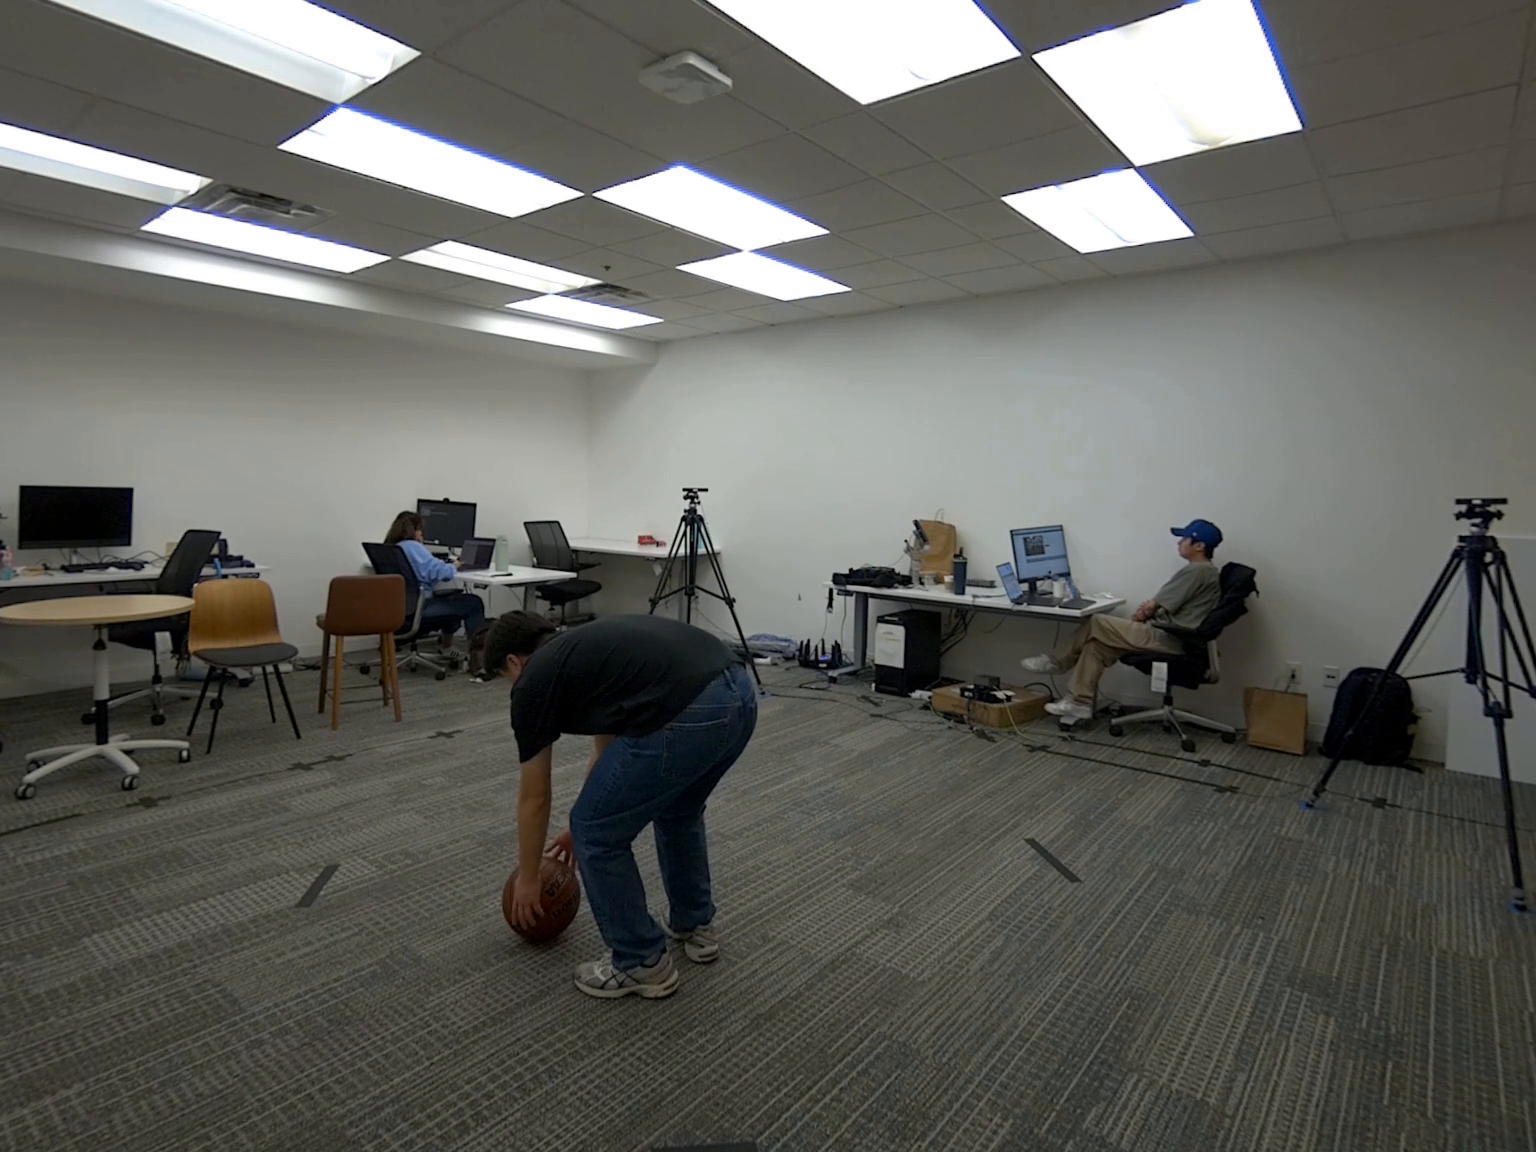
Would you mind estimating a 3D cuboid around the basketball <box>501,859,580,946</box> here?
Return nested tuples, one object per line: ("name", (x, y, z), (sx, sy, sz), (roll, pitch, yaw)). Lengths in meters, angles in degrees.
("basketball", (-0.703, 0.989, 2.625), (0.236, 0.235, 0.237), (1, 4, -2))
